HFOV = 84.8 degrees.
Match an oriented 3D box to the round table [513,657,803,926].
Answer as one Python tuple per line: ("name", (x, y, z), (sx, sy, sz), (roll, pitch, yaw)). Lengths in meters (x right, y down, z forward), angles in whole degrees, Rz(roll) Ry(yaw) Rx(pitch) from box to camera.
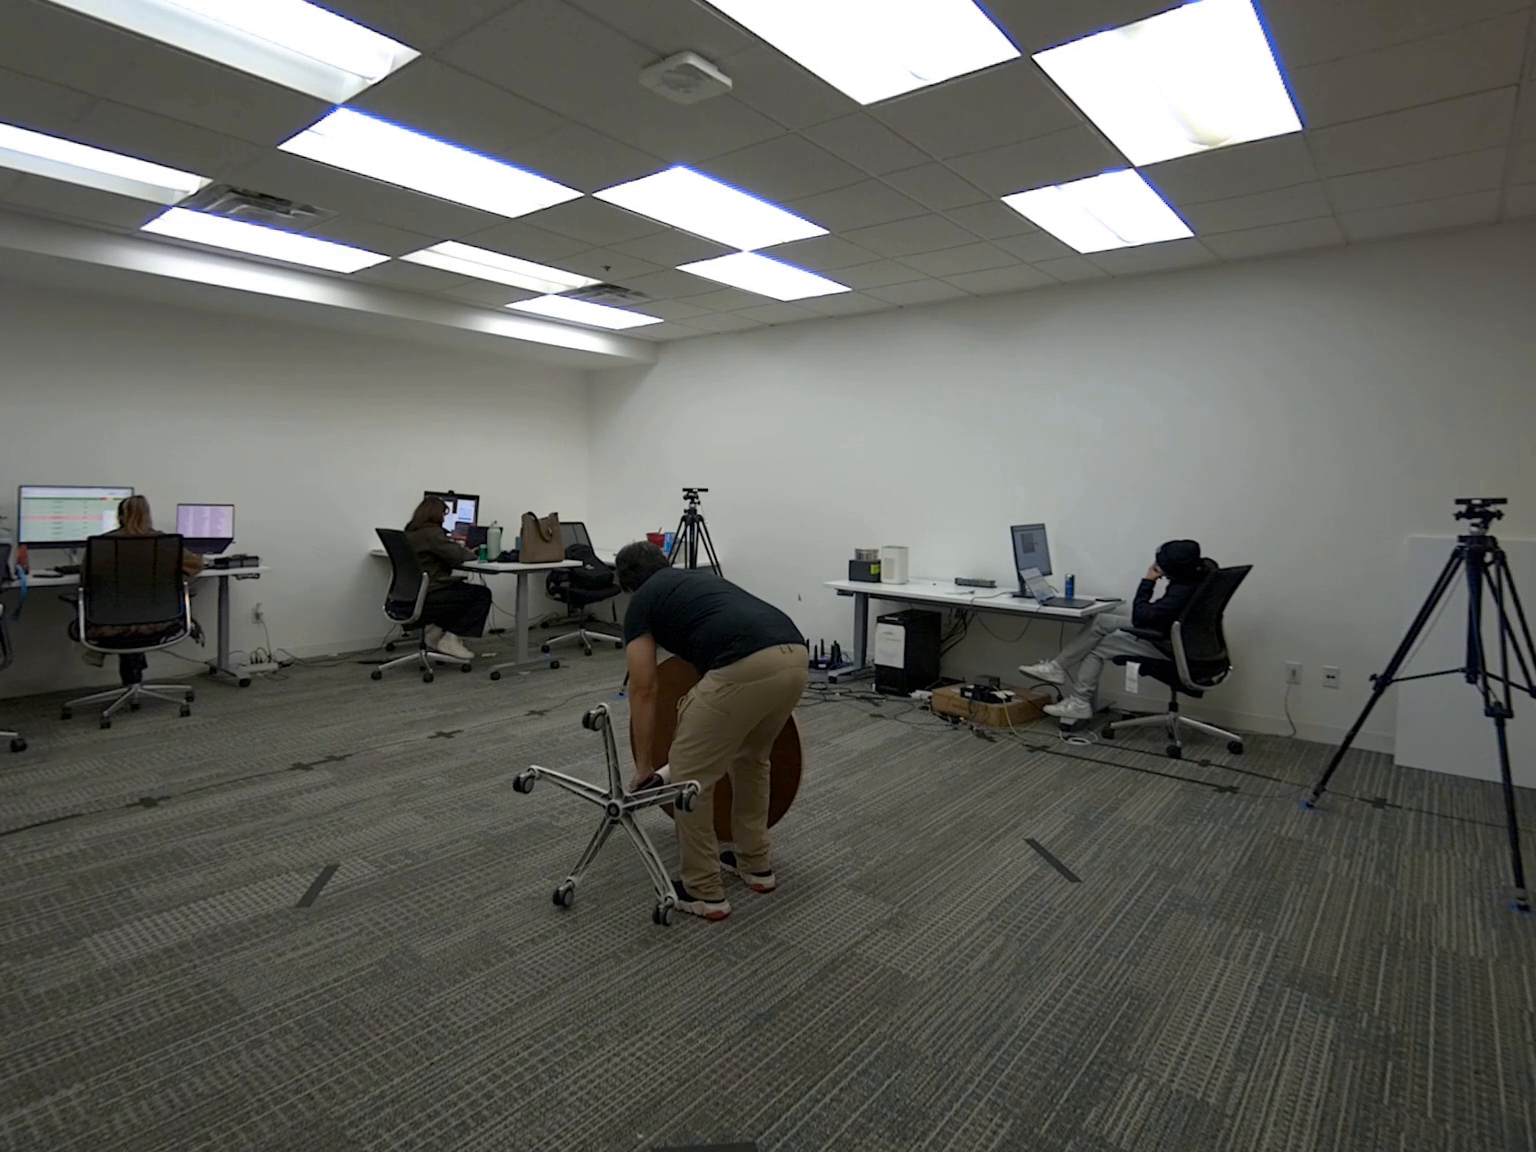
("round table", (-0.386, 0.703, 3.018), (0.806, 0.781, 0.770), (3, 7, 25))
